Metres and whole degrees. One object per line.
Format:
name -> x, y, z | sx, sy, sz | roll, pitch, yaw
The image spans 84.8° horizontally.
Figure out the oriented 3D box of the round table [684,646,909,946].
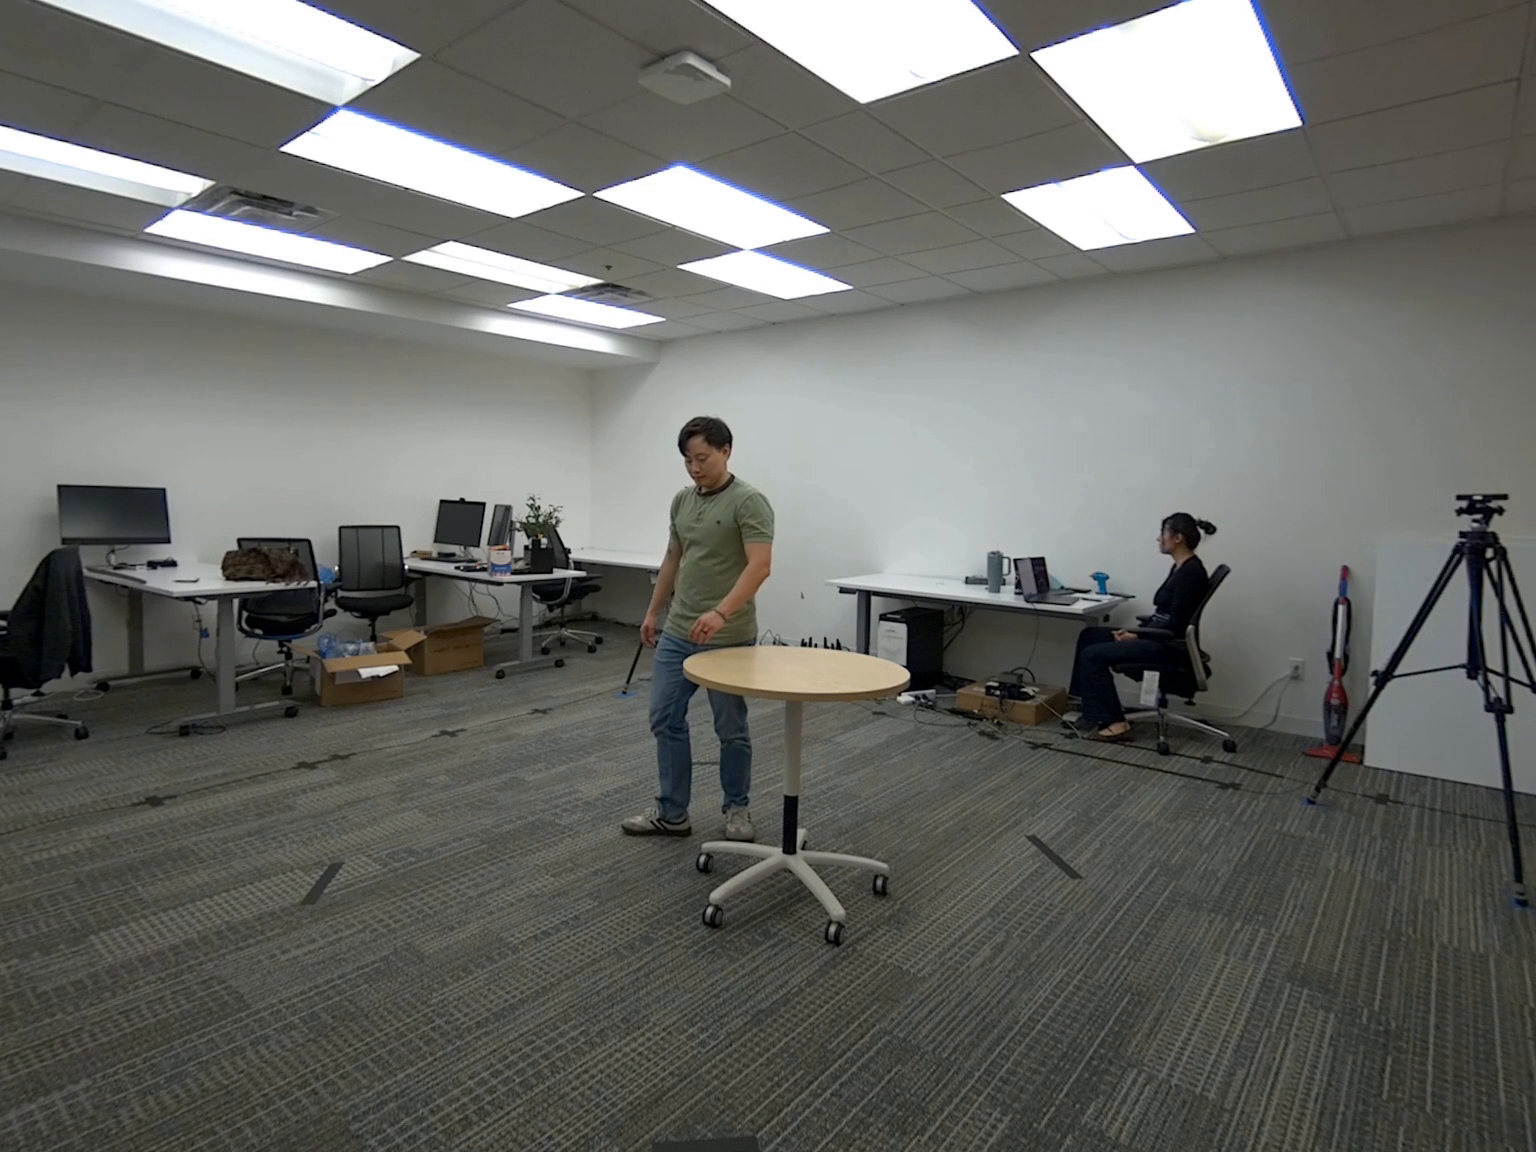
round table -> 0.070, 0.699, 2.914 | 0.763, 0.791, 0.768 | 2, 4, -2
